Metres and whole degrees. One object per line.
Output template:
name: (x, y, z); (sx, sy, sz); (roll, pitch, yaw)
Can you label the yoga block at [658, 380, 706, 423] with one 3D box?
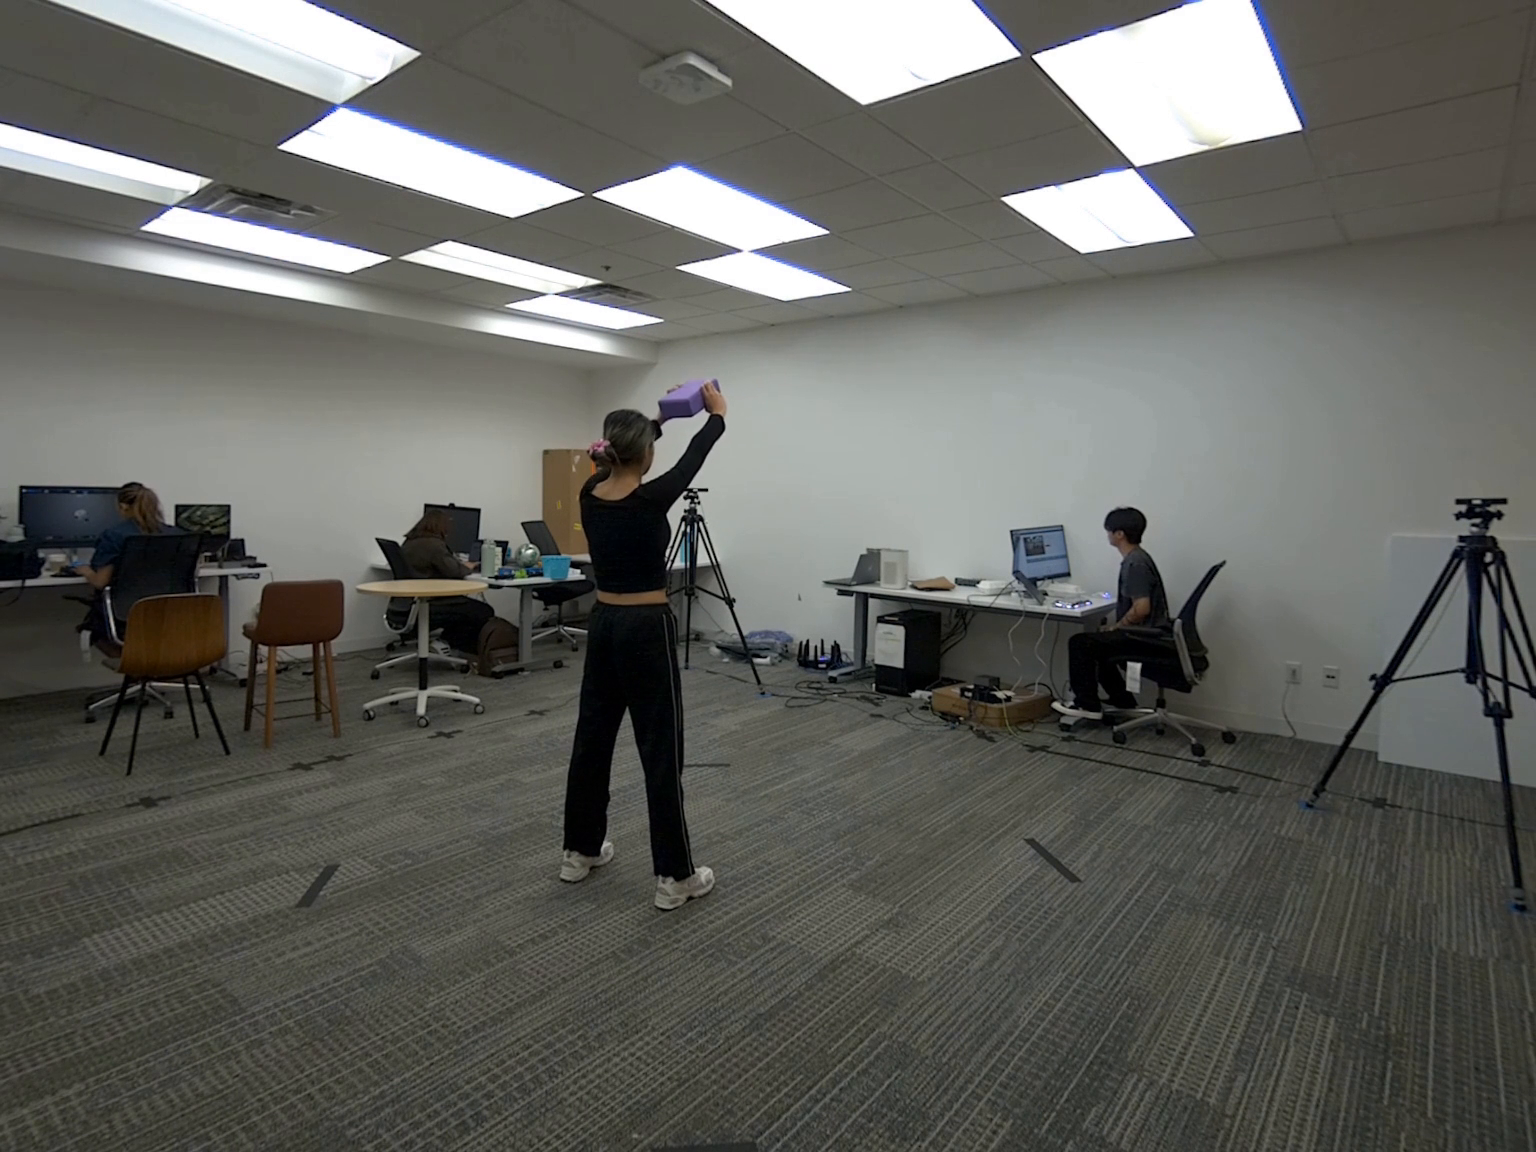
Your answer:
yoga block: (-0.312, -0.685, 3.290); (0.153, 0.074, 0.229); (4, 32, 30)
